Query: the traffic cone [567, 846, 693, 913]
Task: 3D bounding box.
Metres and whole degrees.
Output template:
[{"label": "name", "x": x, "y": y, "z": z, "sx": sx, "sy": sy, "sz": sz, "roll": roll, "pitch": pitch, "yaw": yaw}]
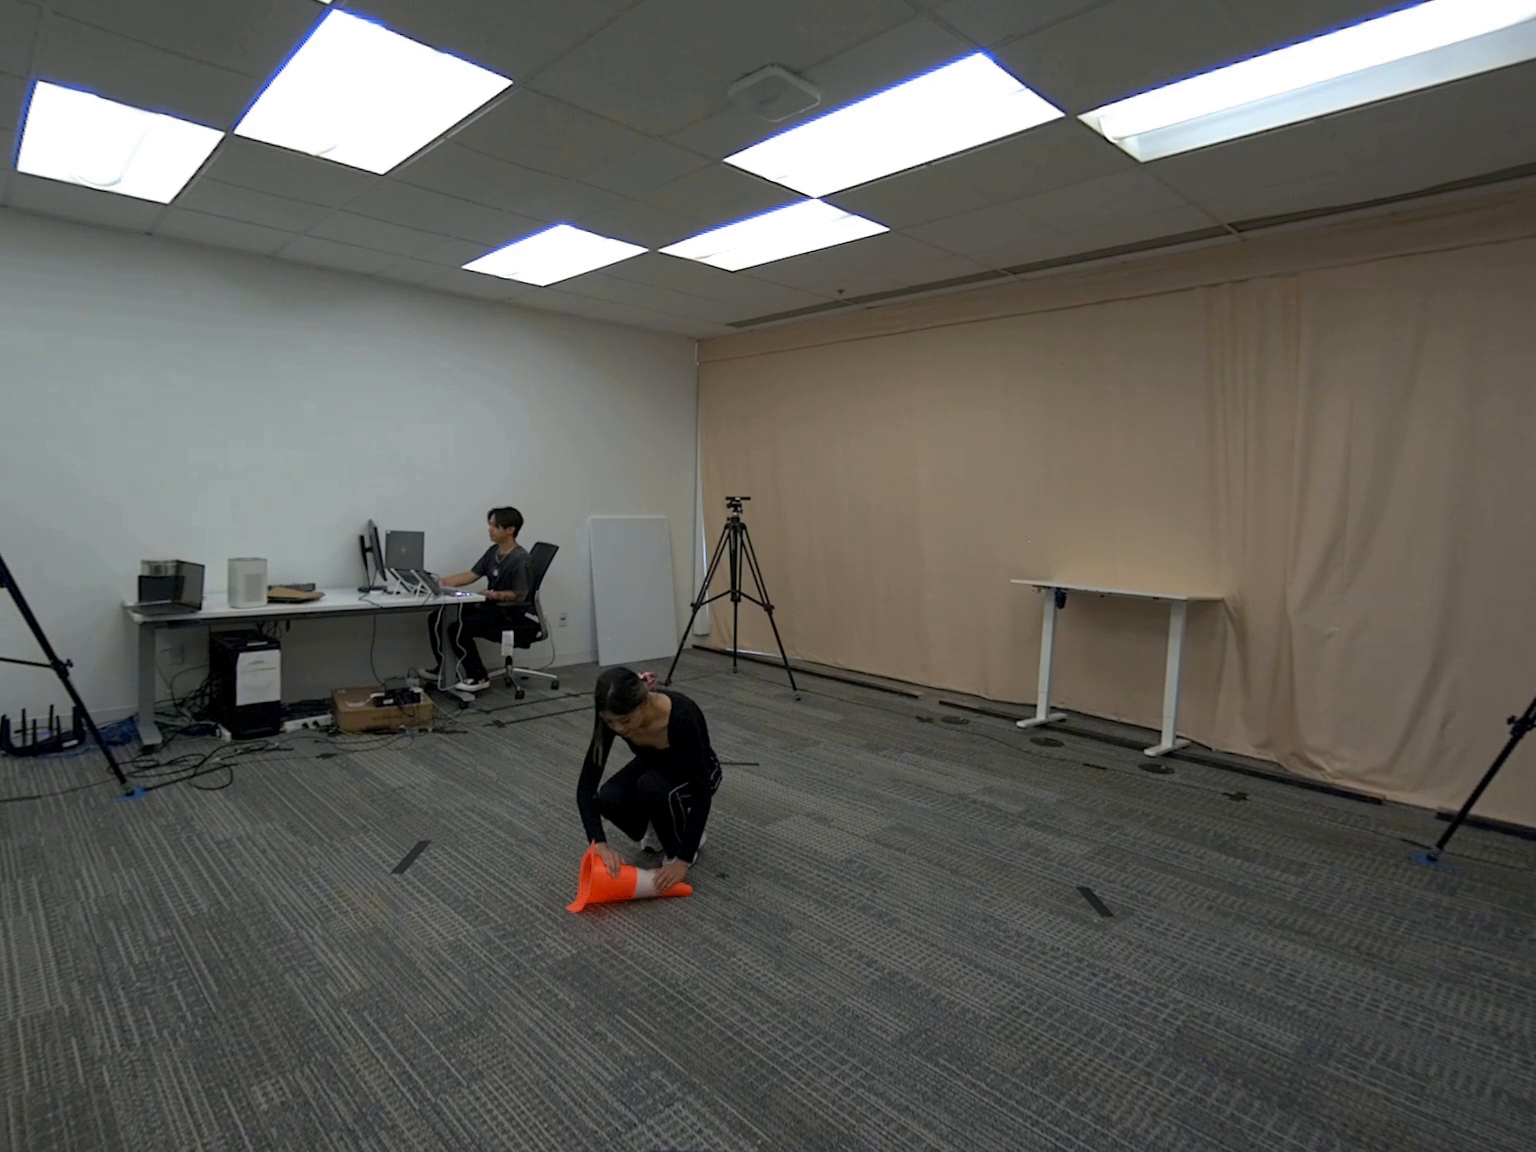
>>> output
[{"label": "traffic cone", "x": -0.457, "y": 1.070, "z": 2.888, "sx": 0.378, "sy": 0.201, "sz": 0.210, "roll": 15, "pitch": 37, "yaw": -15}]
